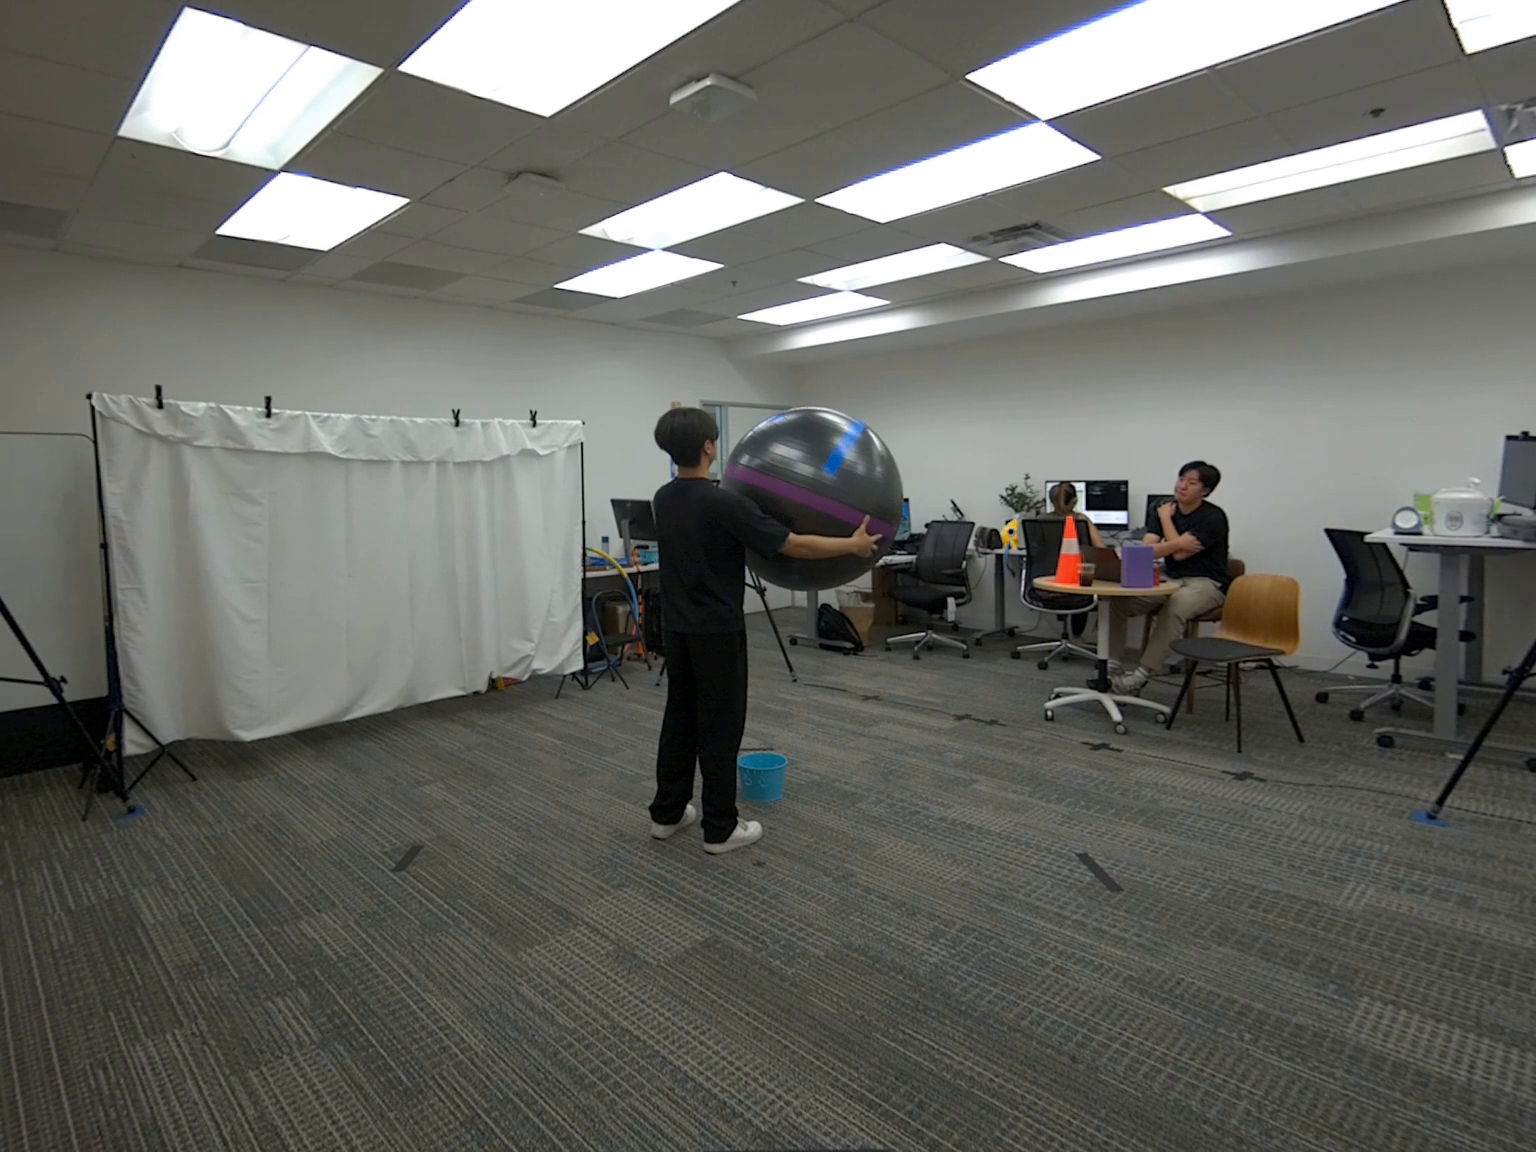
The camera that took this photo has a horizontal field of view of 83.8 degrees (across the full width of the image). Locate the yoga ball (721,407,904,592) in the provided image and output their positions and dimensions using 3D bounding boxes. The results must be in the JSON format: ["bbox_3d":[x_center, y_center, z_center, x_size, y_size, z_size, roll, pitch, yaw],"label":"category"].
[{"bbox_3d":[0.177,-0.310,3.568,0.757,0.755,0.762,-1,5,-2],"label":"yoga ball"}]
